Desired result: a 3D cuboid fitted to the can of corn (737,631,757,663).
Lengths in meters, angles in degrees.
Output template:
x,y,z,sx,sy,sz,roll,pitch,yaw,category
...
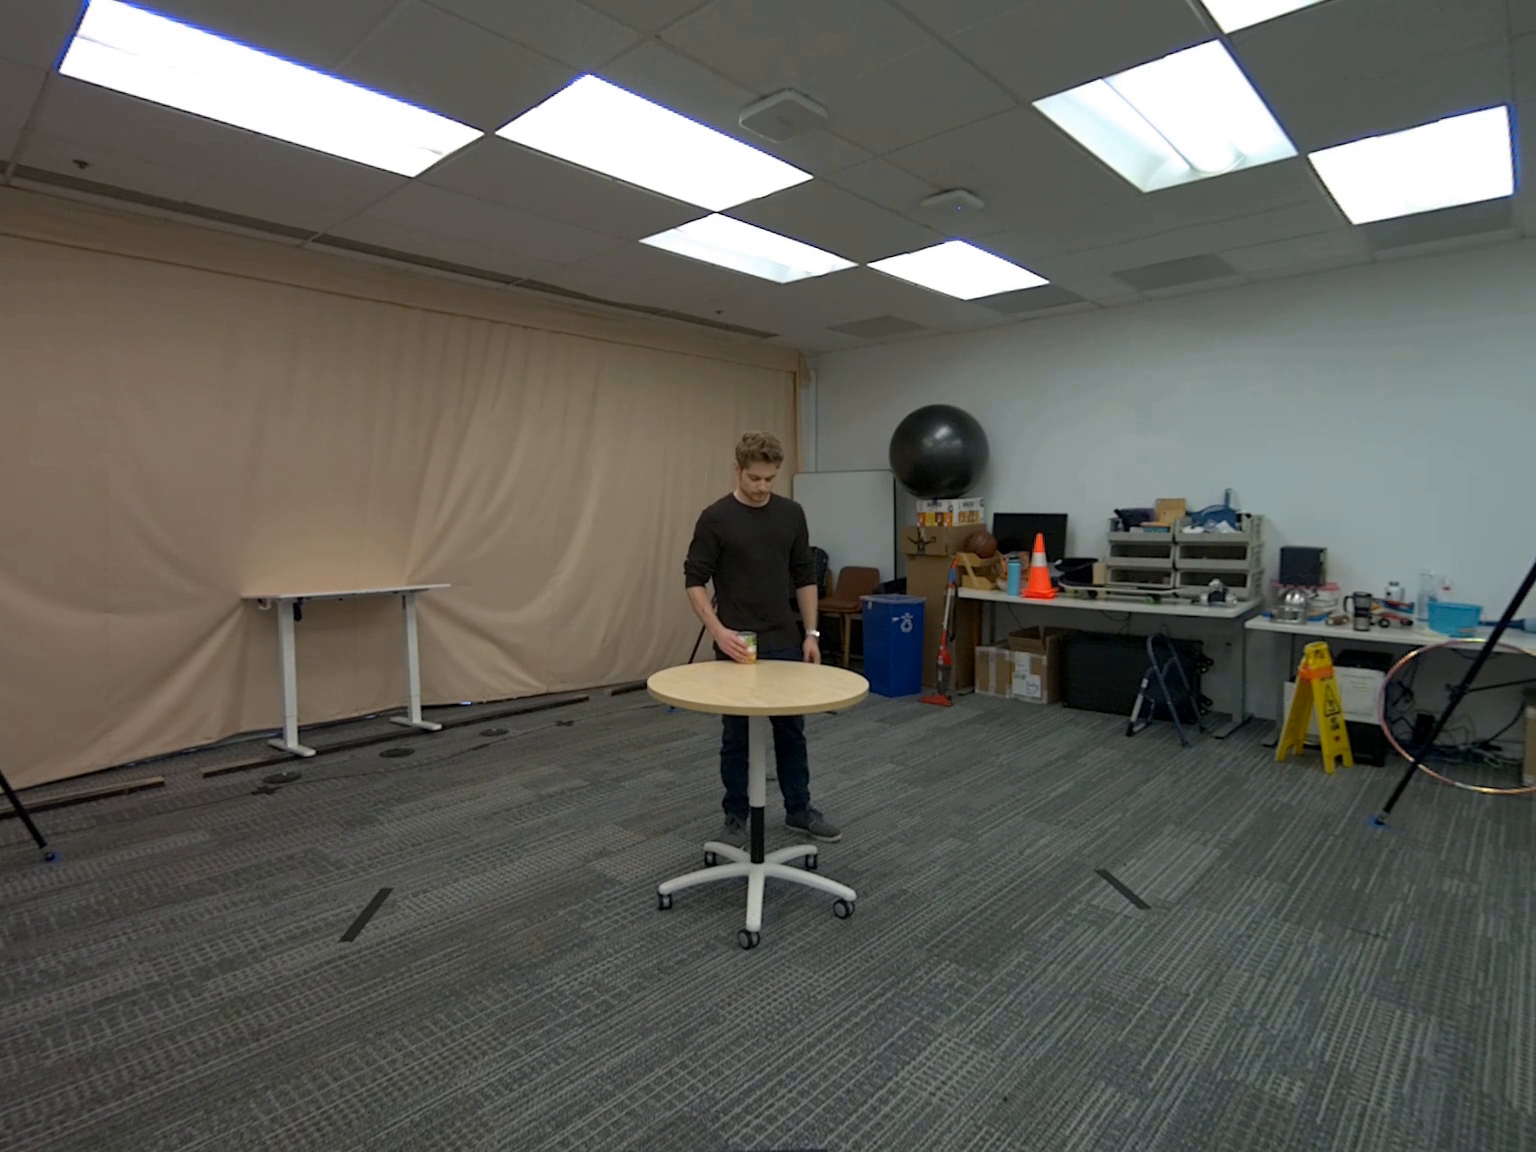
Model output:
x,y,z,sx,sy,sz,roll,pitch,yaw,category
-0.078,0.276,3.261,0.074,0.111,0.074,0,5,-2,can of corn
